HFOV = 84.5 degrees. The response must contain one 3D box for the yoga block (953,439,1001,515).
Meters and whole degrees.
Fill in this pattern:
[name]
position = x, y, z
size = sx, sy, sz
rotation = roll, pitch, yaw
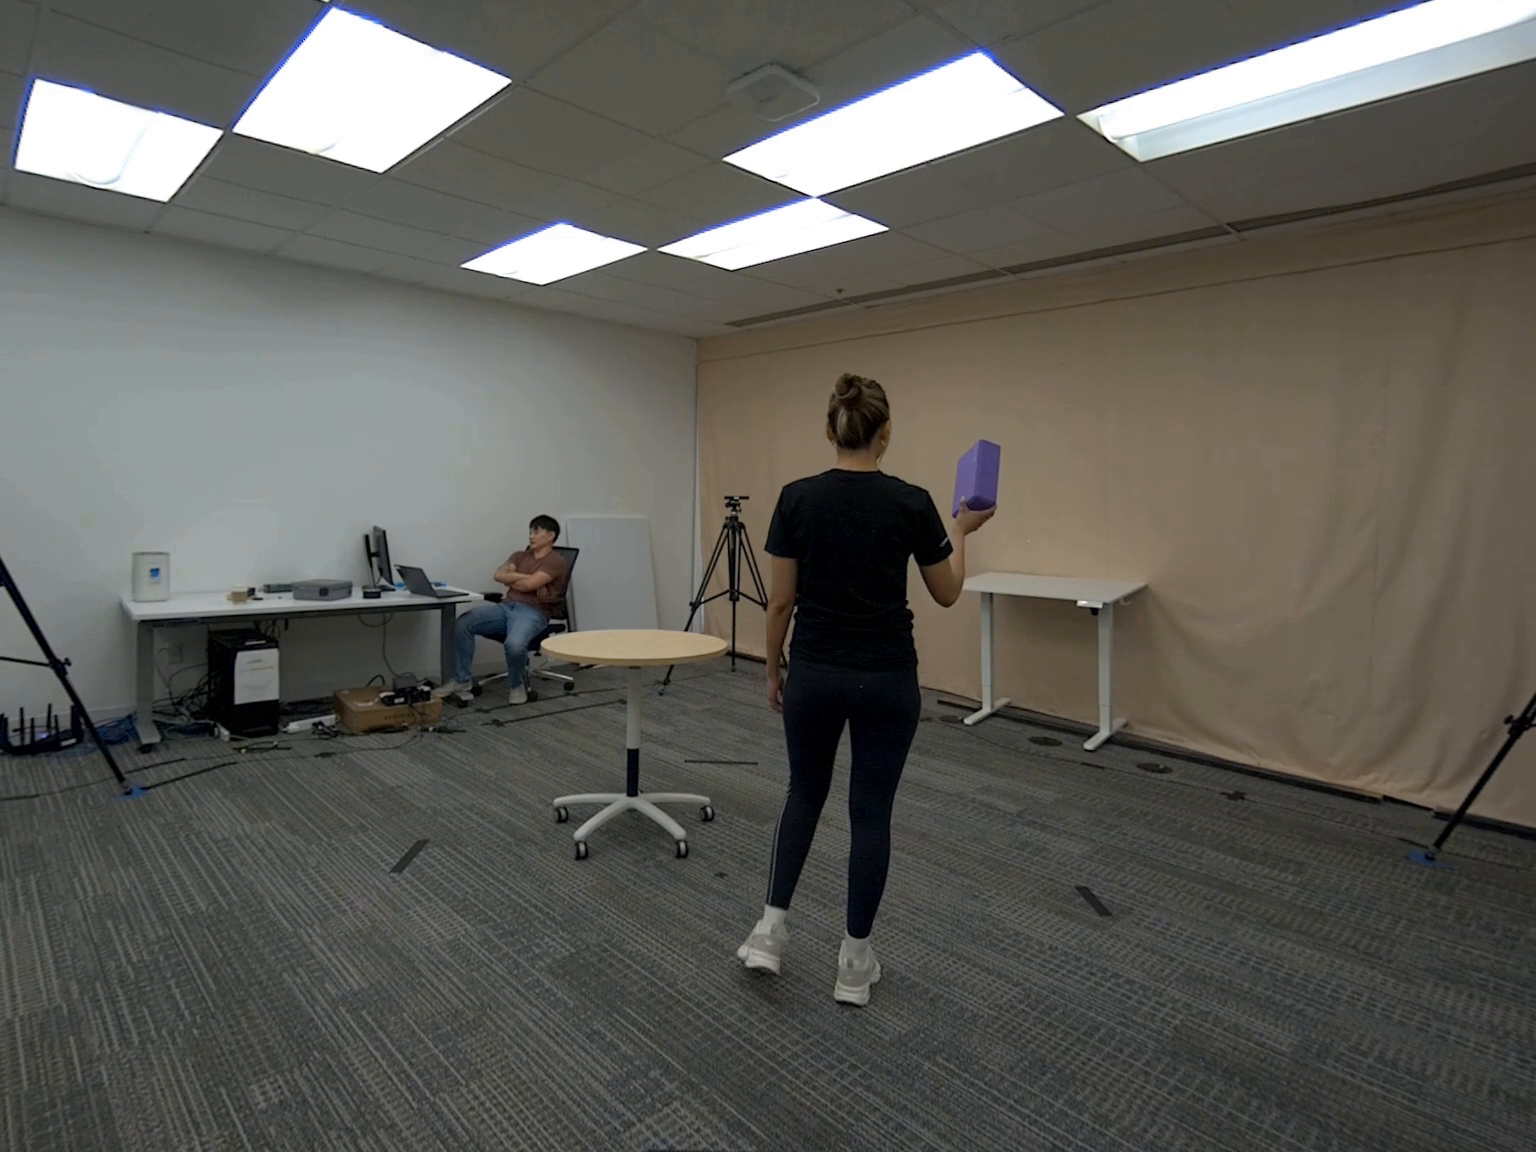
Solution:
[yoga block]
position = 0.650, -0.295, 2.630
size = 0.076, 0.232, 0.148
rotation = 19, -28, -10
